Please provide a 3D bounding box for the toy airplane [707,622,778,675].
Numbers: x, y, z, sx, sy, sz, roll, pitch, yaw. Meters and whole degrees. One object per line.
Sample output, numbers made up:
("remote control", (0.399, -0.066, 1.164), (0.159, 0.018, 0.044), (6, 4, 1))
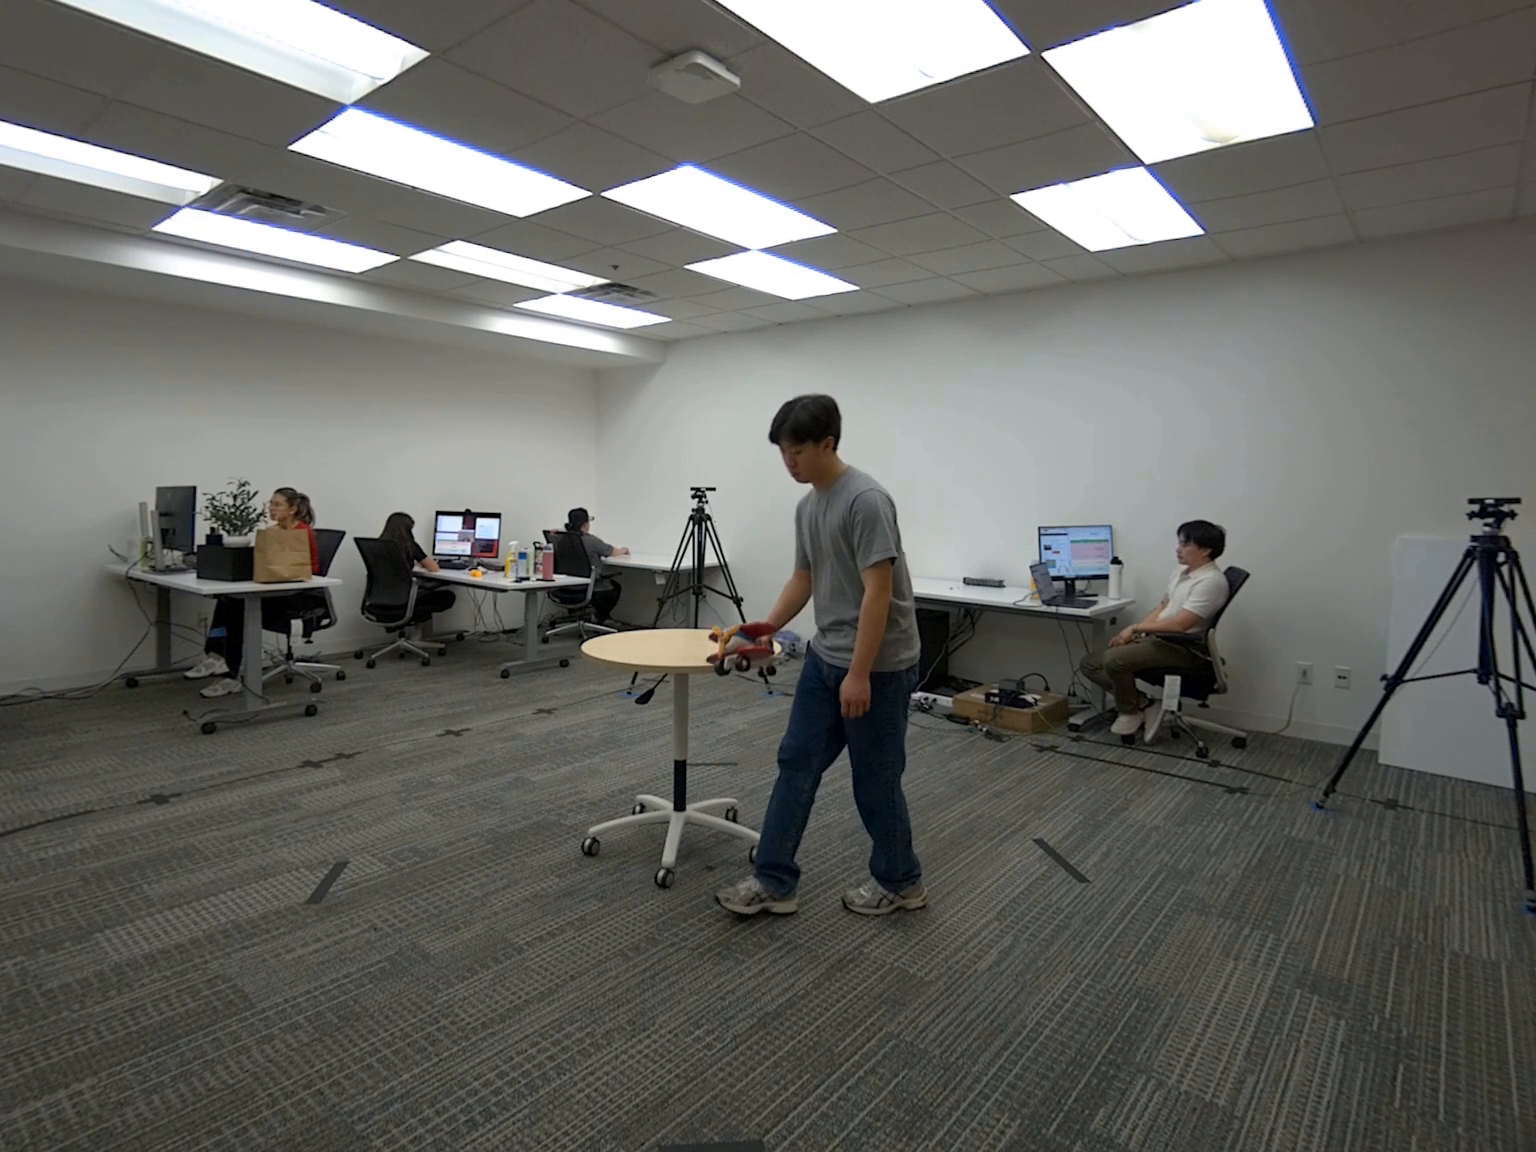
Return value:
("toy airplane", (-0.089, 0.255, 2.763), (0.253, 0.159, 0.253), (-7, -14, 9))
